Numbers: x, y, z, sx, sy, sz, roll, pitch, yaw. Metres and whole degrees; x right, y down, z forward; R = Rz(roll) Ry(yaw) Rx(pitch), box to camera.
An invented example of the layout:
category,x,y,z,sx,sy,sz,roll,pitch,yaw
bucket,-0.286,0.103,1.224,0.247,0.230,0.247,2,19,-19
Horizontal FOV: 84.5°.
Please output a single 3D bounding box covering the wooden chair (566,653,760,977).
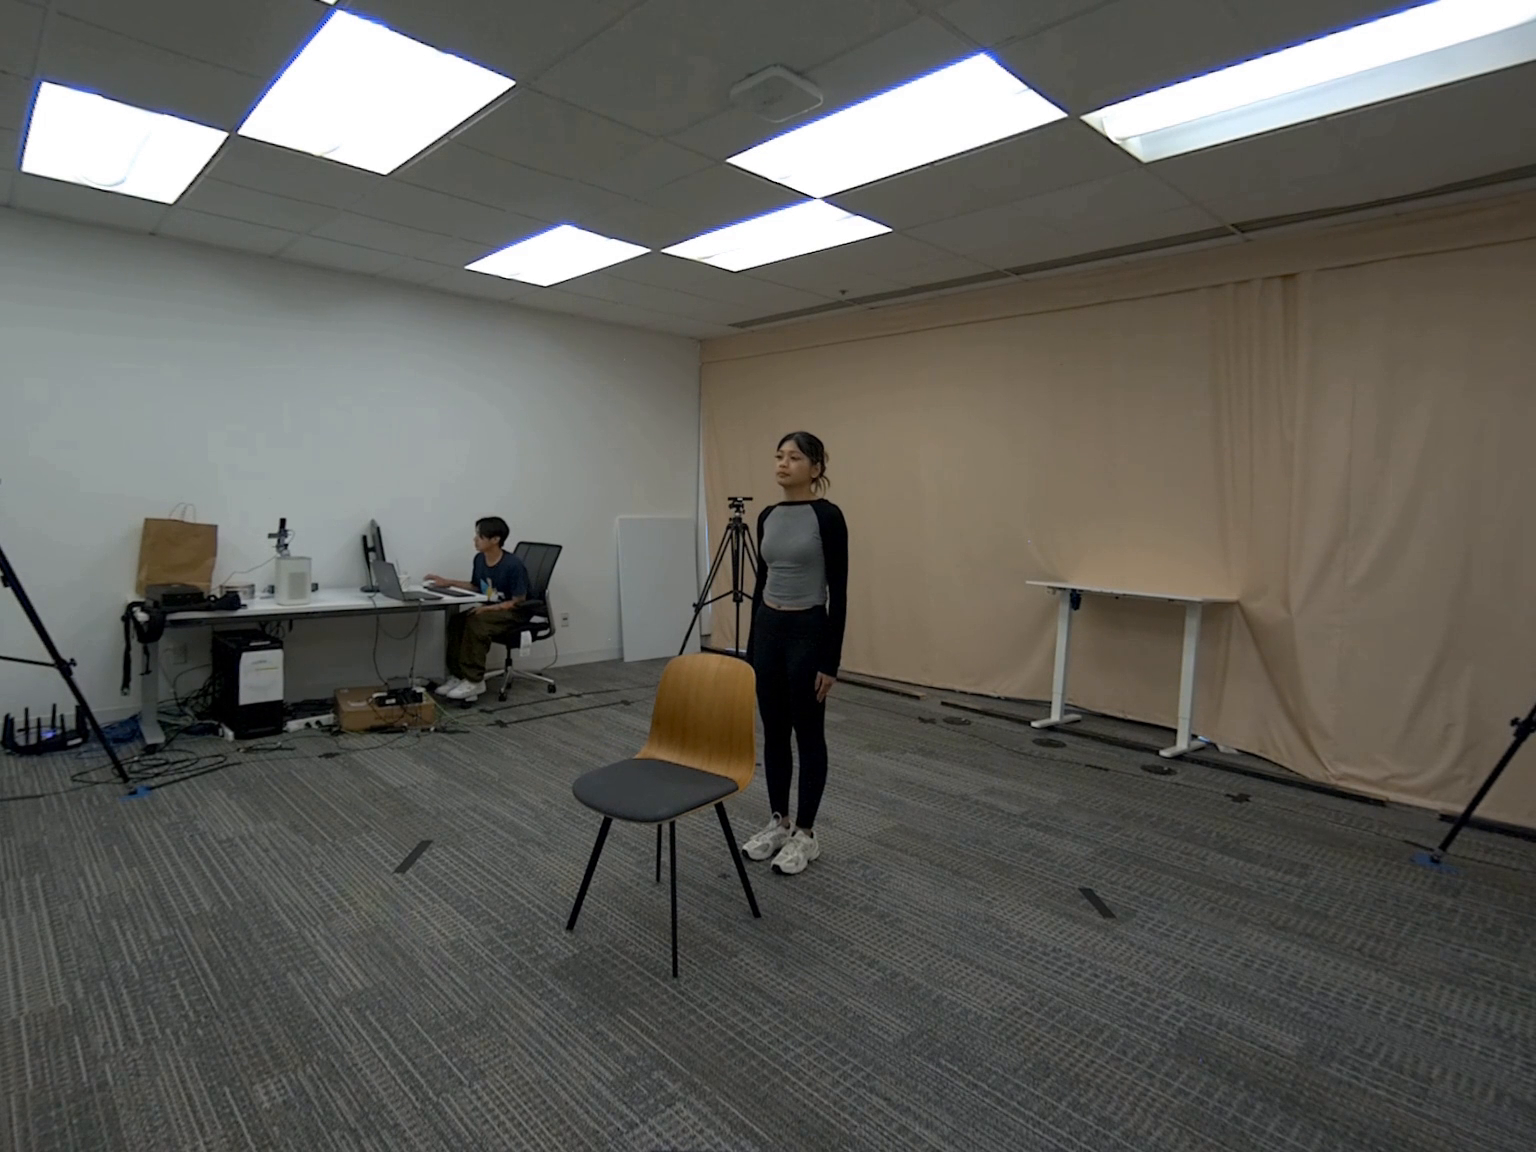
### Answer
category,x,y,z,sx,sy,sz,roll,pitch,yaw
wooden chair,-0.329,0.712,2.705,0.489,0.878,0.511,4,0,34
